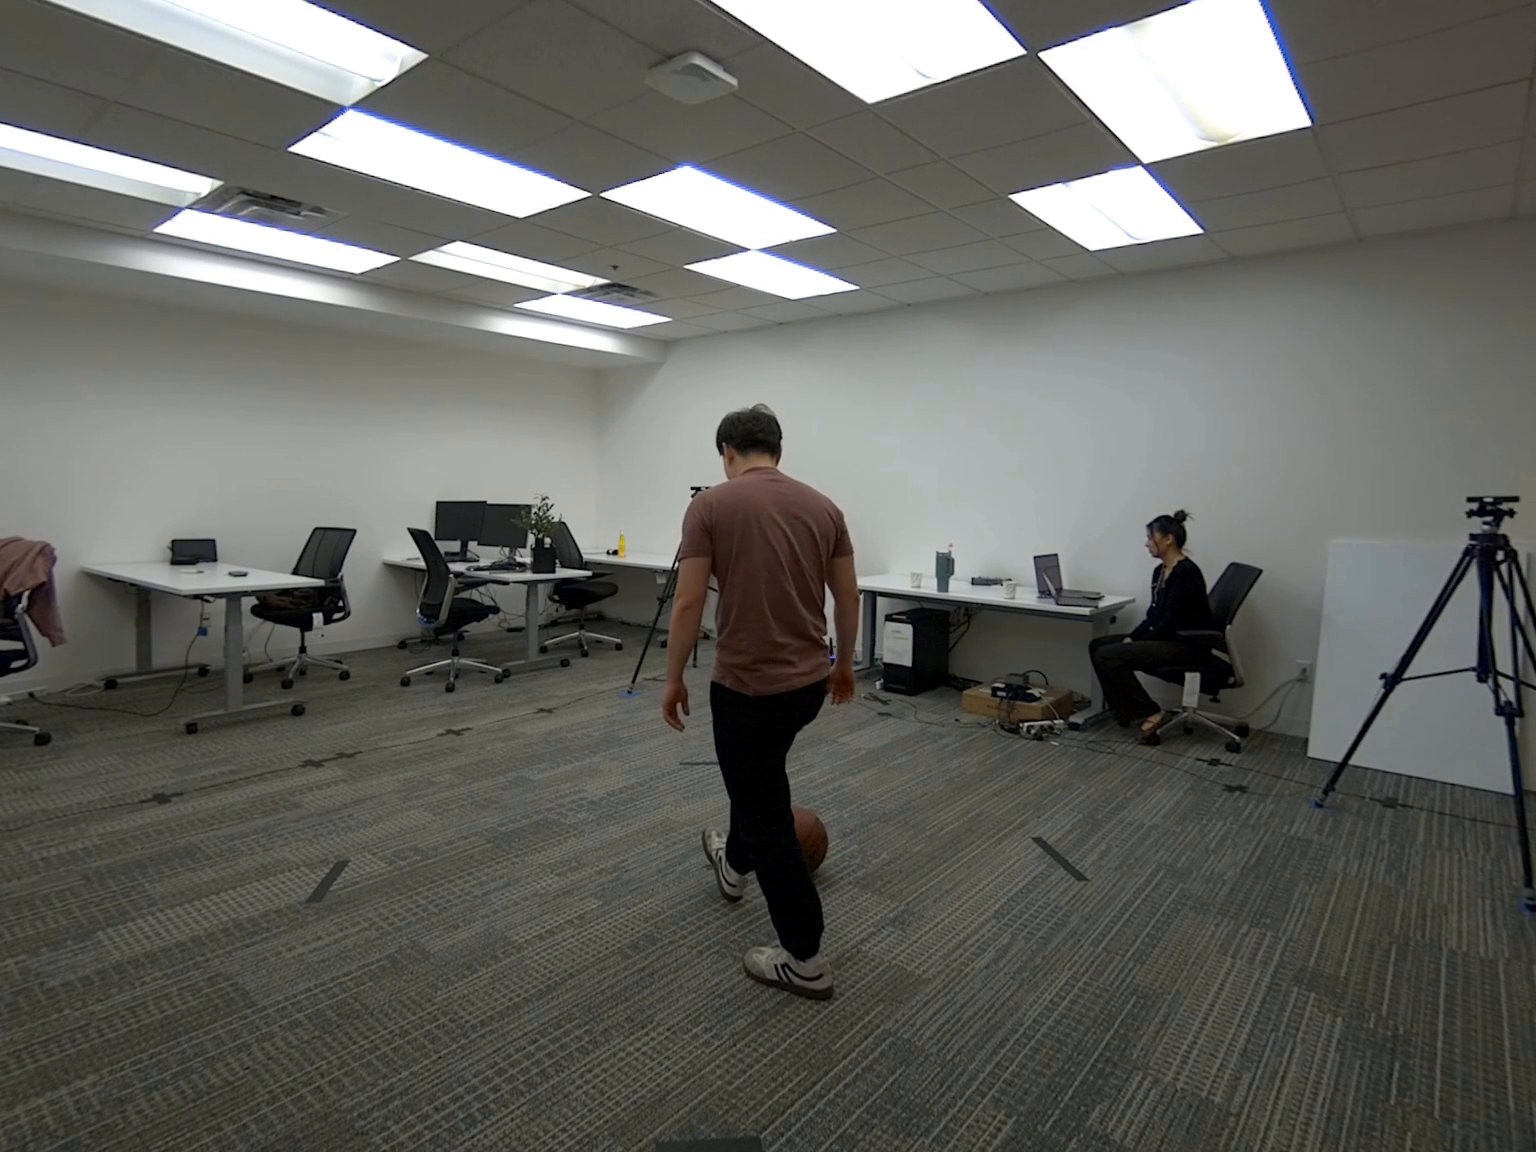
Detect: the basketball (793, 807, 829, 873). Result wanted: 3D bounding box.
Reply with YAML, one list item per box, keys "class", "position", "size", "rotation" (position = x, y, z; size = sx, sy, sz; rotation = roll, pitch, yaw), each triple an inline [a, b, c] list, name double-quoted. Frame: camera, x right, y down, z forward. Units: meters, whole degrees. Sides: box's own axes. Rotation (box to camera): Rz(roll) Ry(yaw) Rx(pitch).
- class: "basketball"
  position: [0.094, 0.954, 3.076]
  size: [0.235, 0.235, 0.237]
  rotation: [1, 4, -2]
